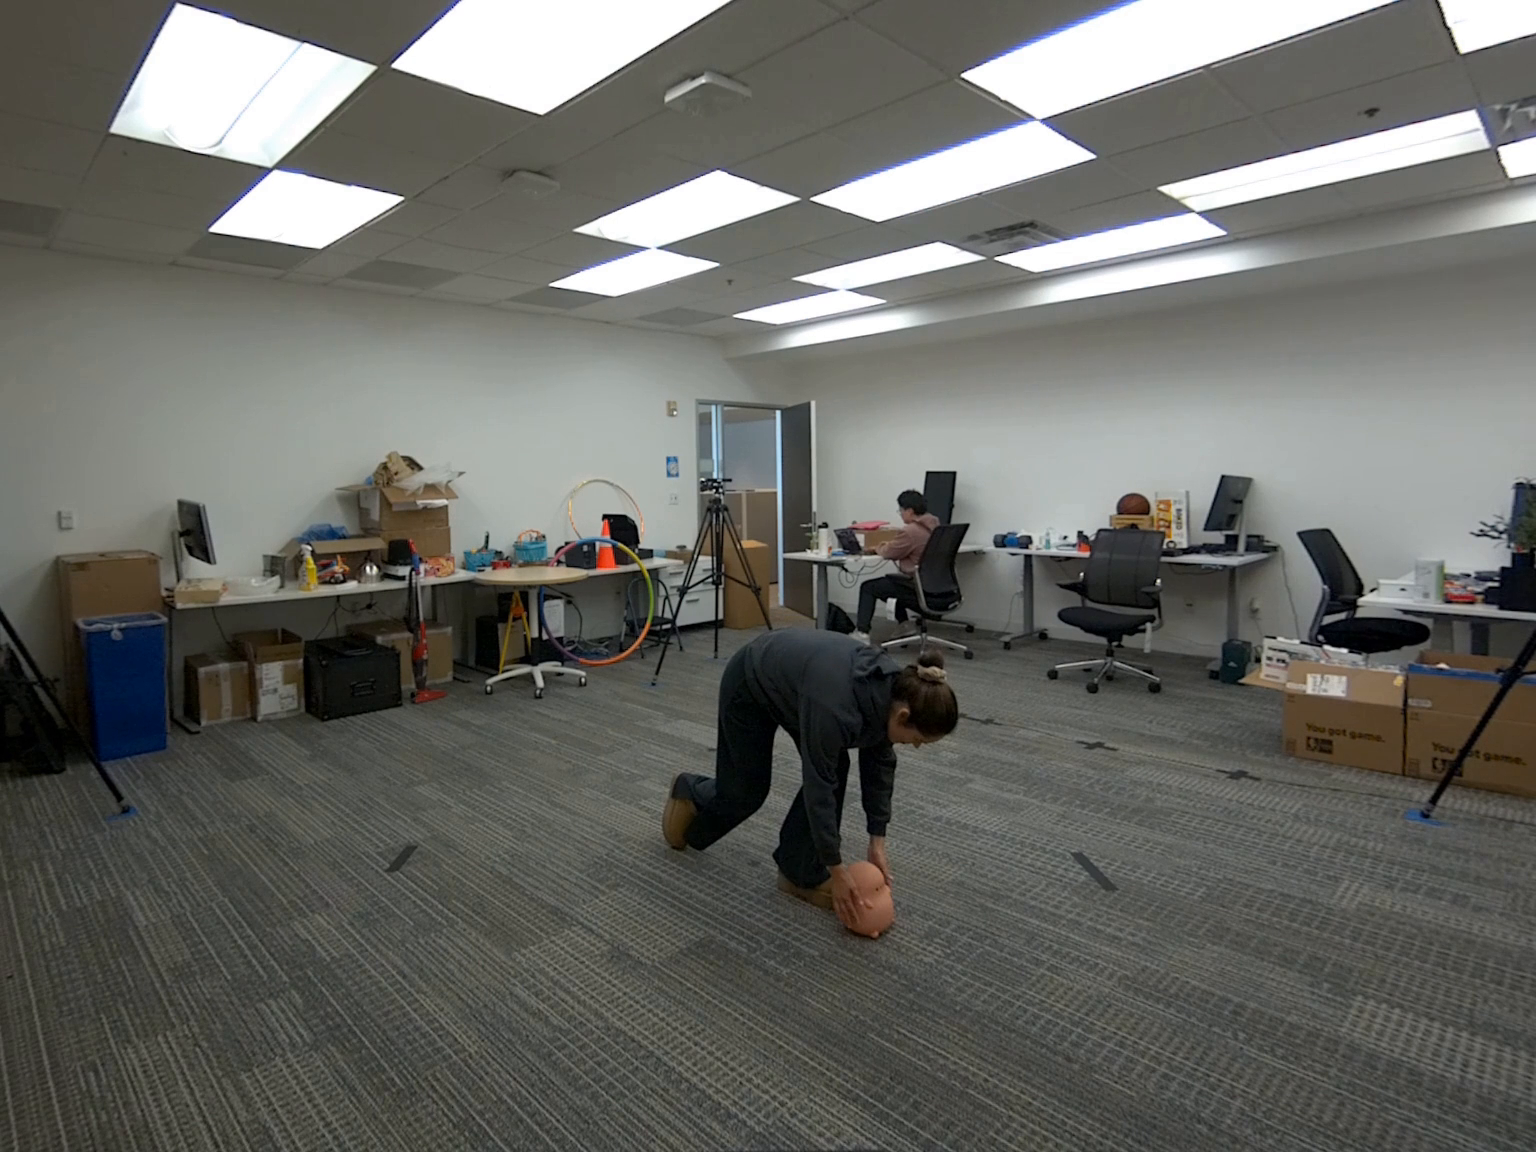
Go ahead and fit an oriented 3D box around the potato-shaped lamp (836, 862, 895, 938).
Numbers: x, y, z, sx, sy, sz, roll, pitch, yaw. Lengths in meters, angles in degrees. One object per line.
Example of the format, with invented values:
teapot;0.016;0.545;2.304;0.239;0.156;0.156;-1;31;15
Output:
potato-shaped lamp;0.300;0.985;2.644;0.176;0.198;0.160;-2;1;37
